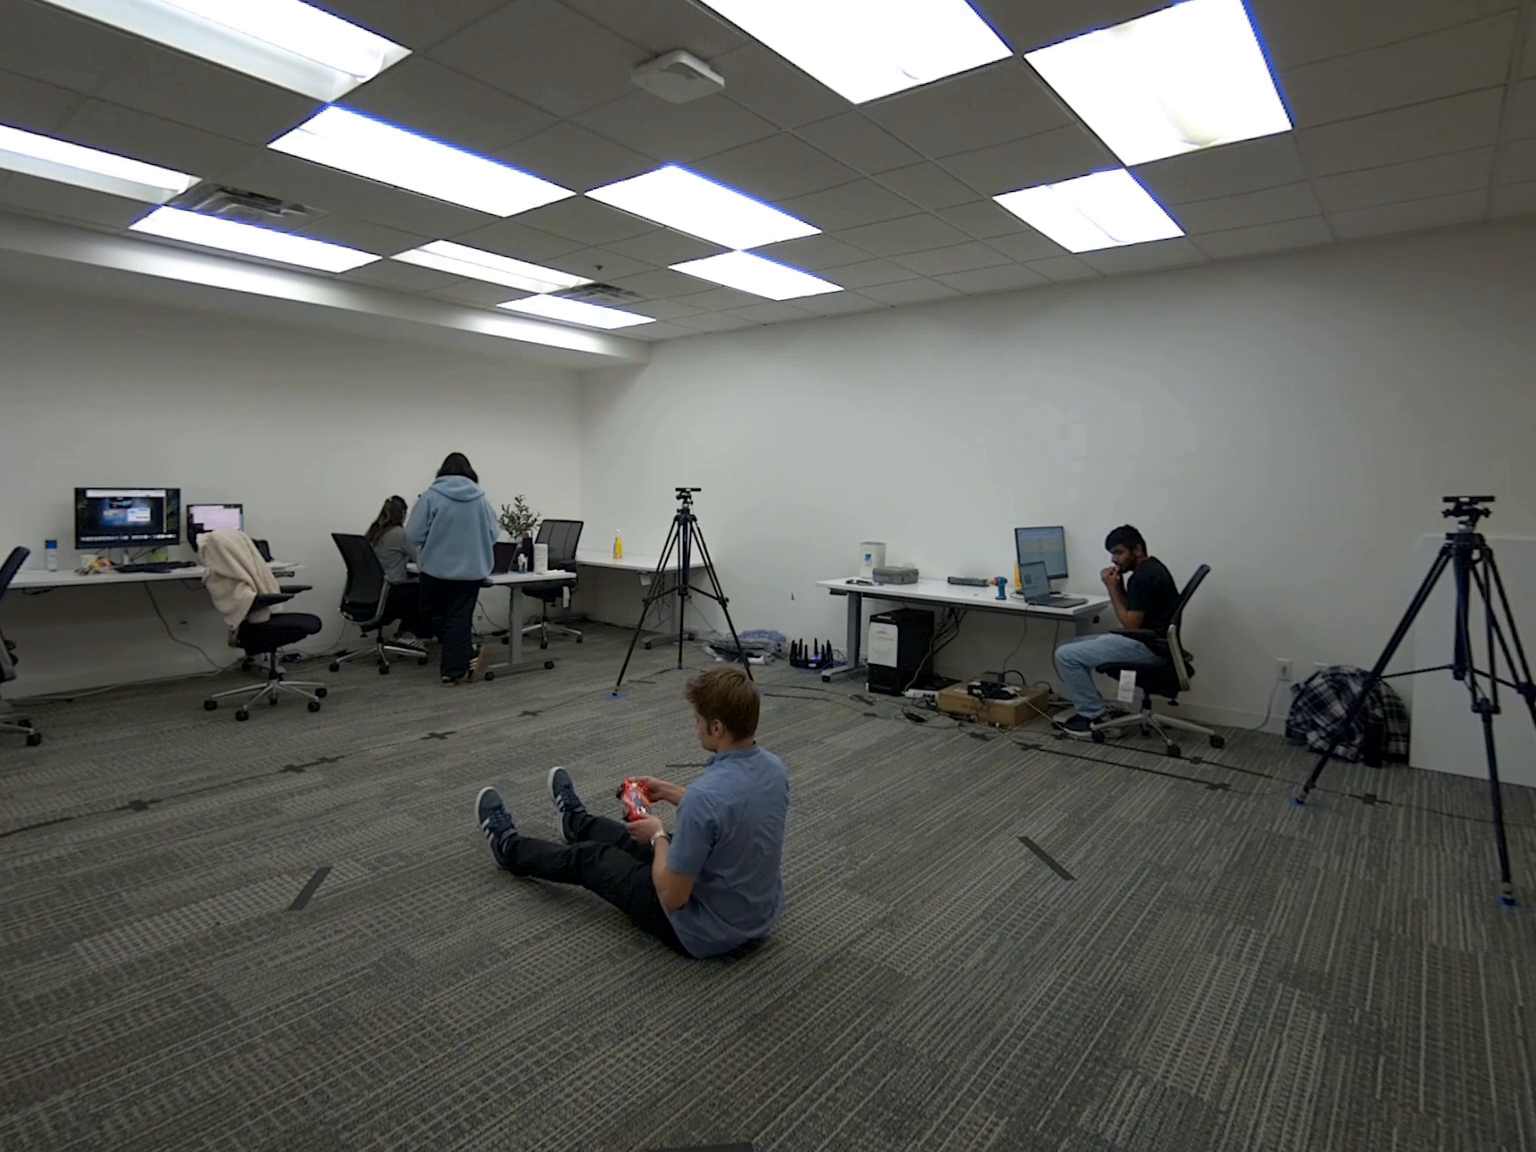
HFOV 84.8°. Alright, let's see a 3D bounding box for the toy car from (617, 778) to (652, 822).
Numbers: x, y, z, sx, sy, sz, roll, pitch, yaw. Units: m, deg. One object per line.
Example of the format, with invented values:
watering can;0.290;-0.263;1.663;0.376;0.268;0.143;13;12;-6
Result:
toy car;-0.457;0.769;2.838;0.127;0.083;0.261;43;12;-20
